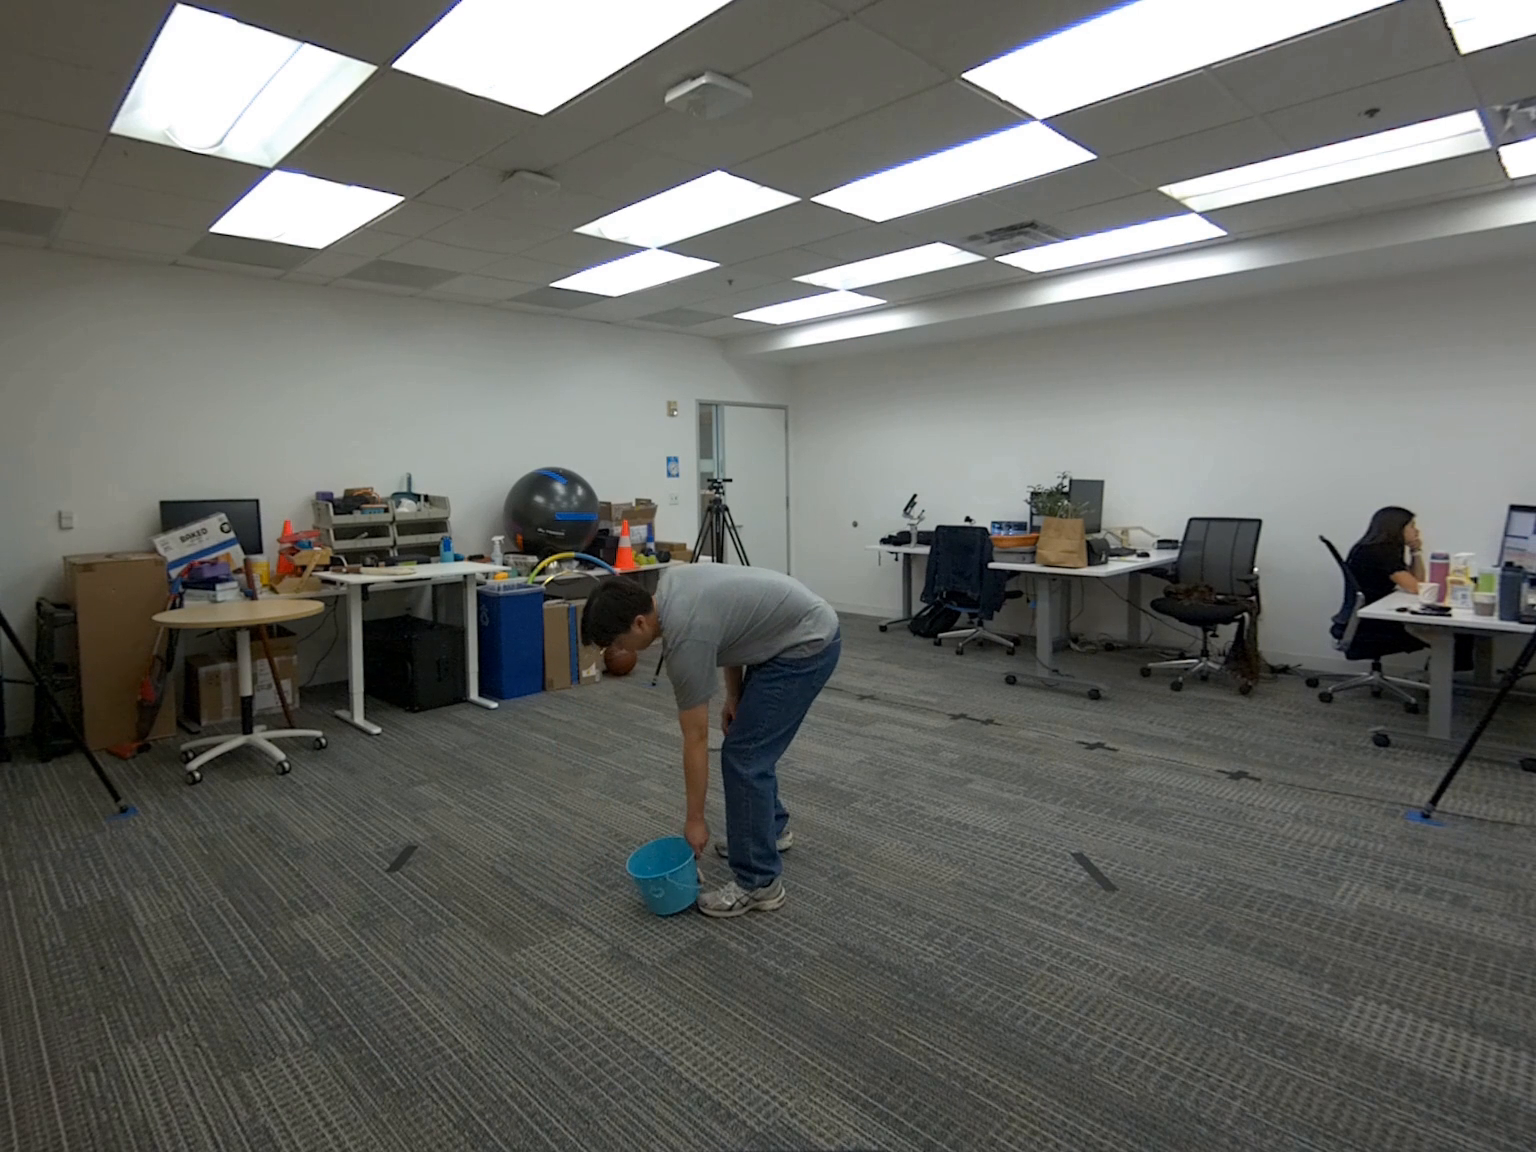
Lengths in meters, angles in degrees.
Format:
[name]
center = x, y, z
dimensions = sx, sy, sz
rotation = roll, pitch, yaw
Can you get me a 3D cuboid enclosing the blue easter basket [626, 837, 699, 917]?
[blue easter basket]
center = -0.330, 0.987, 2.799
dimensions = 0.244, 0.154, 0.246
rotation = -12, 11, 1
